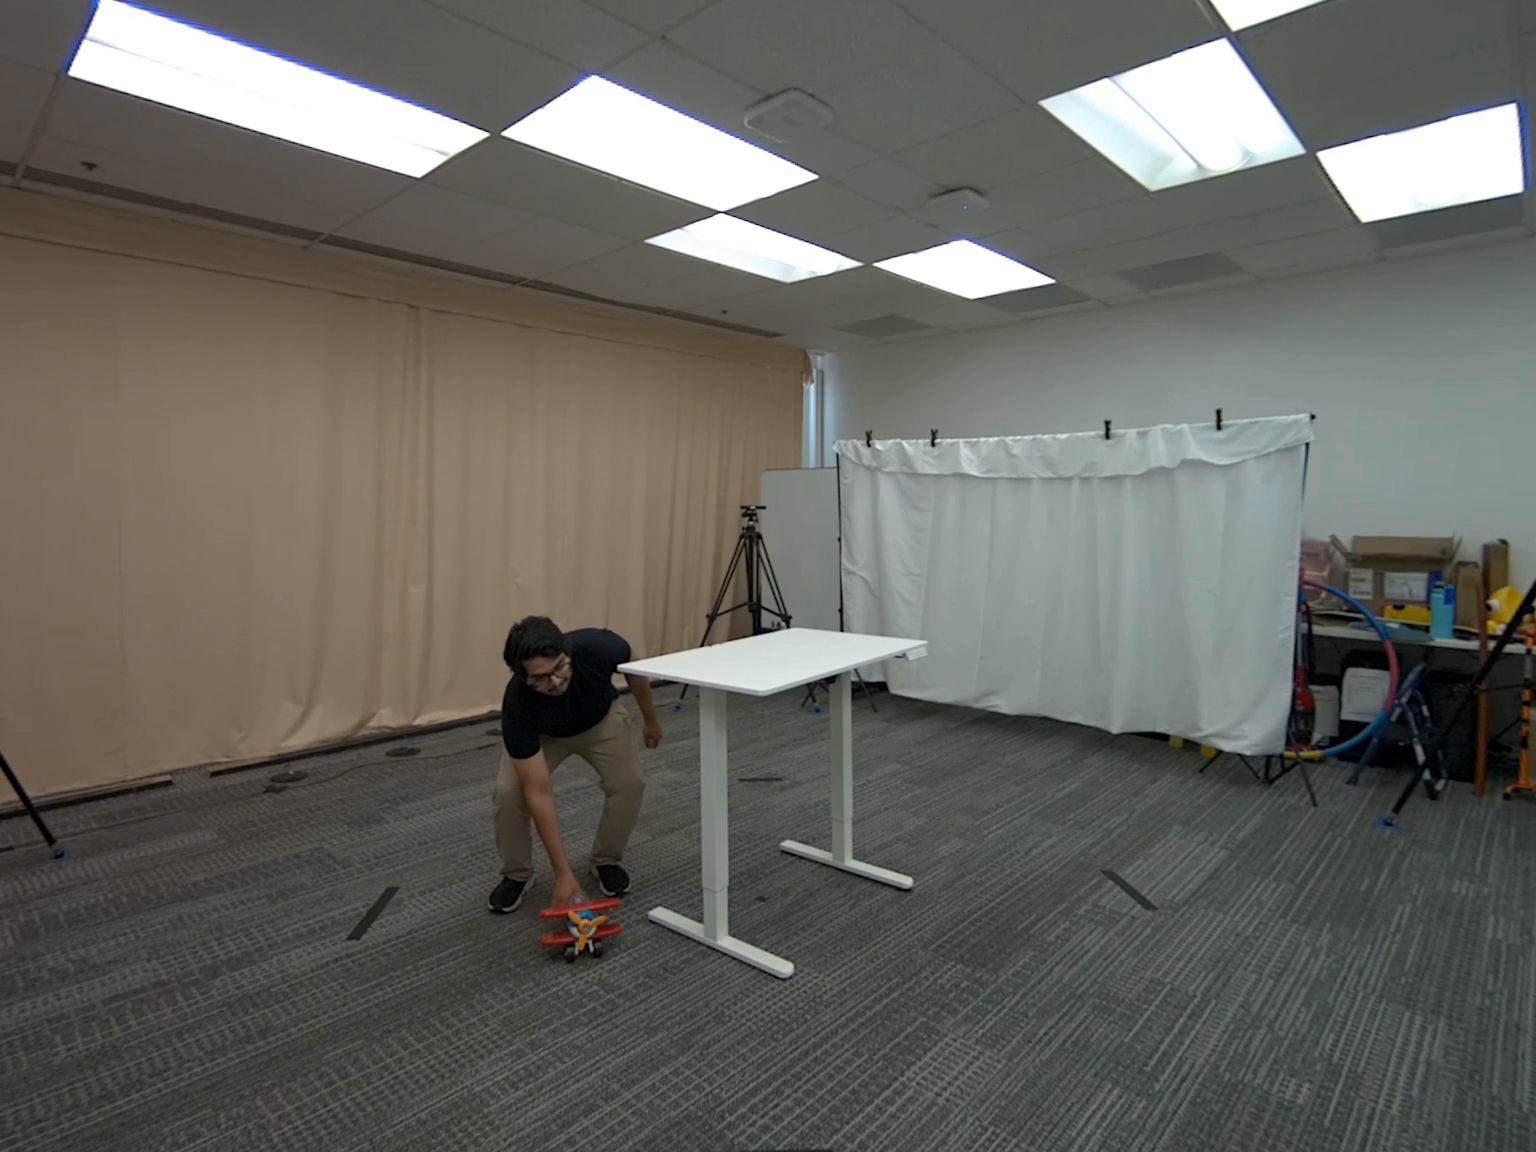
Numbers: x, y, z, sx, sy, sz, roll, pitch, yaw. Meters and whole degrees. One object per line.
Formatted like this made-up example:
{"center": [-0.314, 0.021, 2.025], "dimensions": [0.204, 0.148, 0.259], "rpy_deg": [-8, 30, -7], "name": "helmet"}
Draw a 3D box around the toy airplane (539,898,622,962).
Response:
{"center": [-0.615, 1.100, 2.670], "dimensions": [0.268, 0.156, 0.243], "rpy_deg": [4, 7, 43], "name": "toy airplane"}
